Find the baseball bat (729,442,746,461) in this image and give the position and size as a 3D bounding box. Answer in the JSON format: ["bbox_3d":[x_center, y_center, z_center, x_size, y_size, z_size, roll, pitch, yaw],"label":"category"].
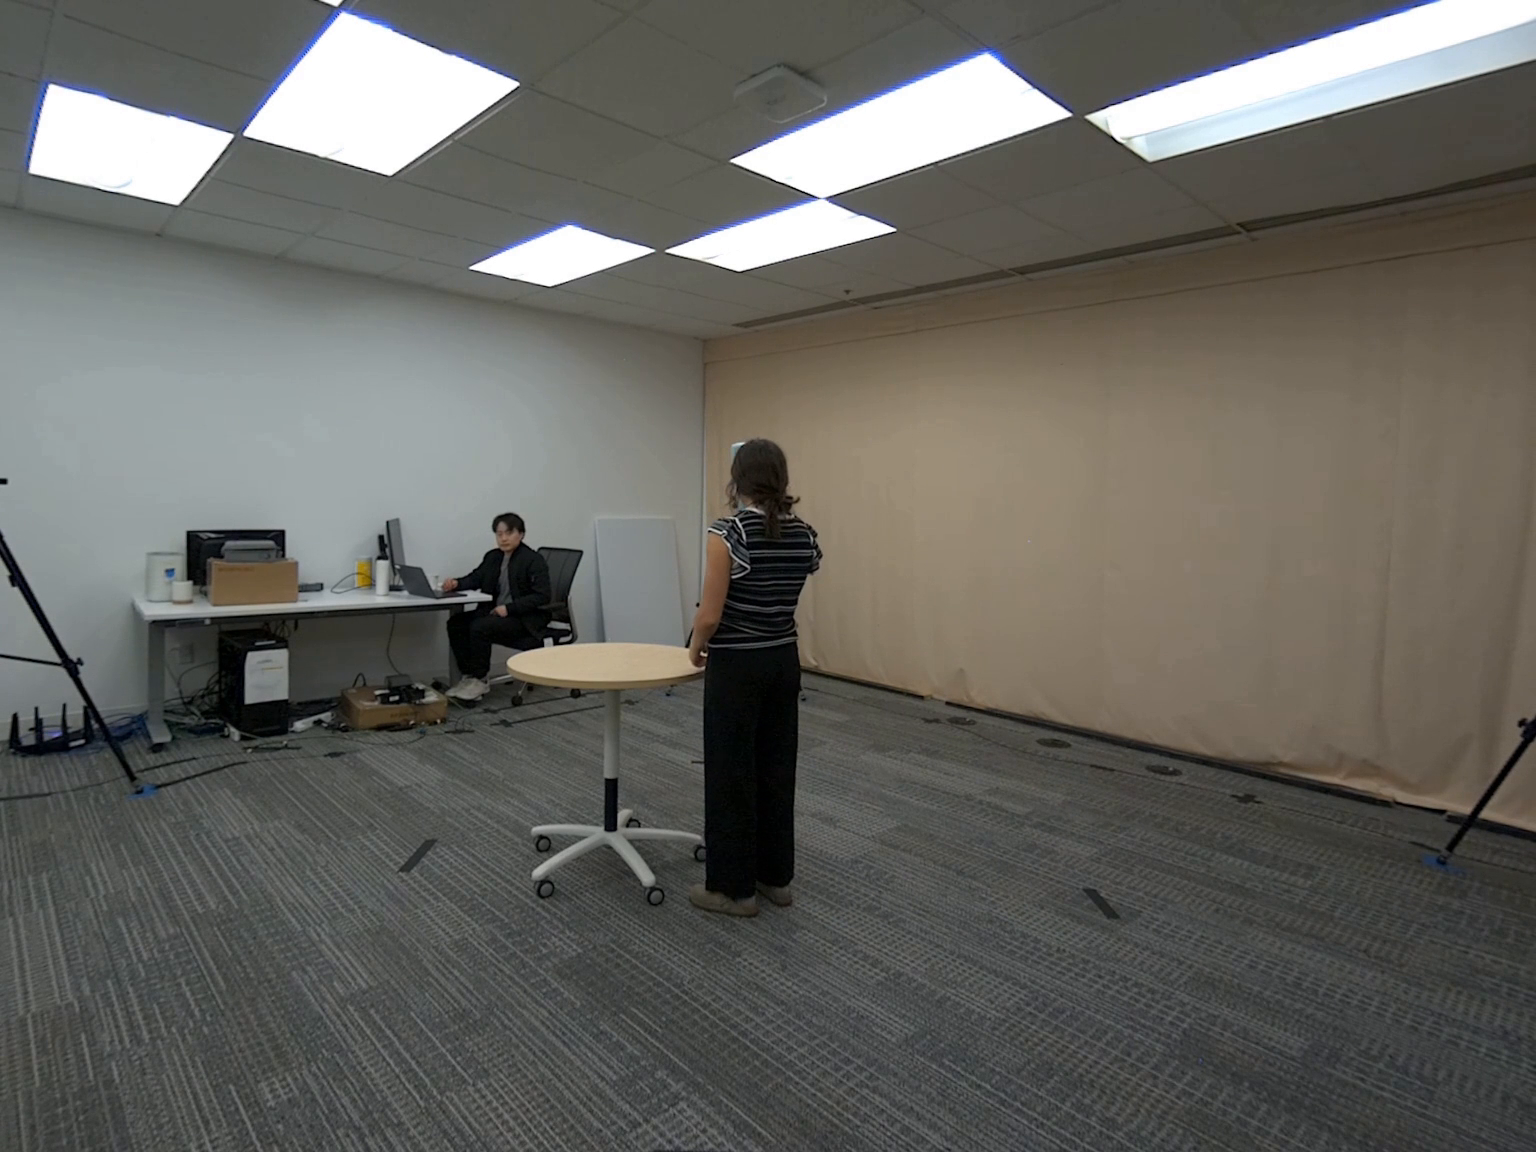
[{"bbox_3d":[-0.081,-0.236,3.208,0.089,0.538,0.090,-4,12,0],"label":"baseball bat"}]
